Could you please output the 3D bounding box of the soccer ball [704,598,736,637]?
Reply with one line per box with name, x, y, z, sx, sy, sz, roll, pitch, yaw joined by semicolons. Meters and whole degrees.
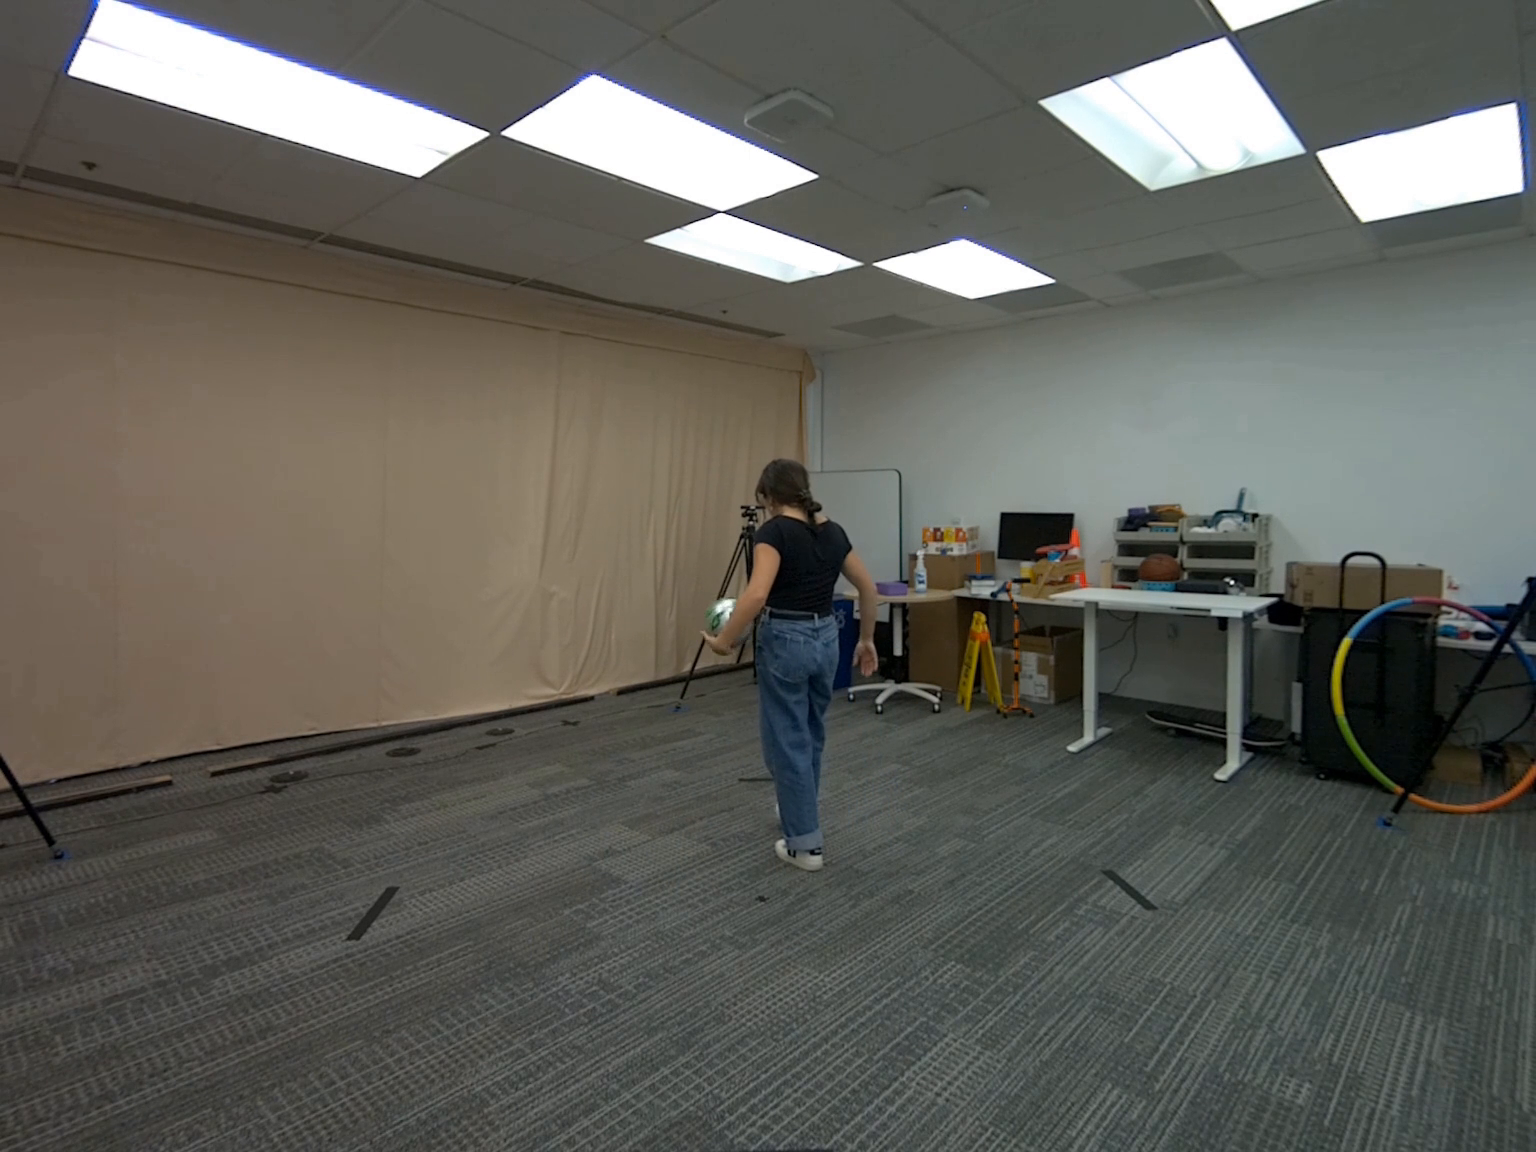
soccer ball;-0.124;0.171;3.111;0.187;0.187;0.188;0;4;-2
